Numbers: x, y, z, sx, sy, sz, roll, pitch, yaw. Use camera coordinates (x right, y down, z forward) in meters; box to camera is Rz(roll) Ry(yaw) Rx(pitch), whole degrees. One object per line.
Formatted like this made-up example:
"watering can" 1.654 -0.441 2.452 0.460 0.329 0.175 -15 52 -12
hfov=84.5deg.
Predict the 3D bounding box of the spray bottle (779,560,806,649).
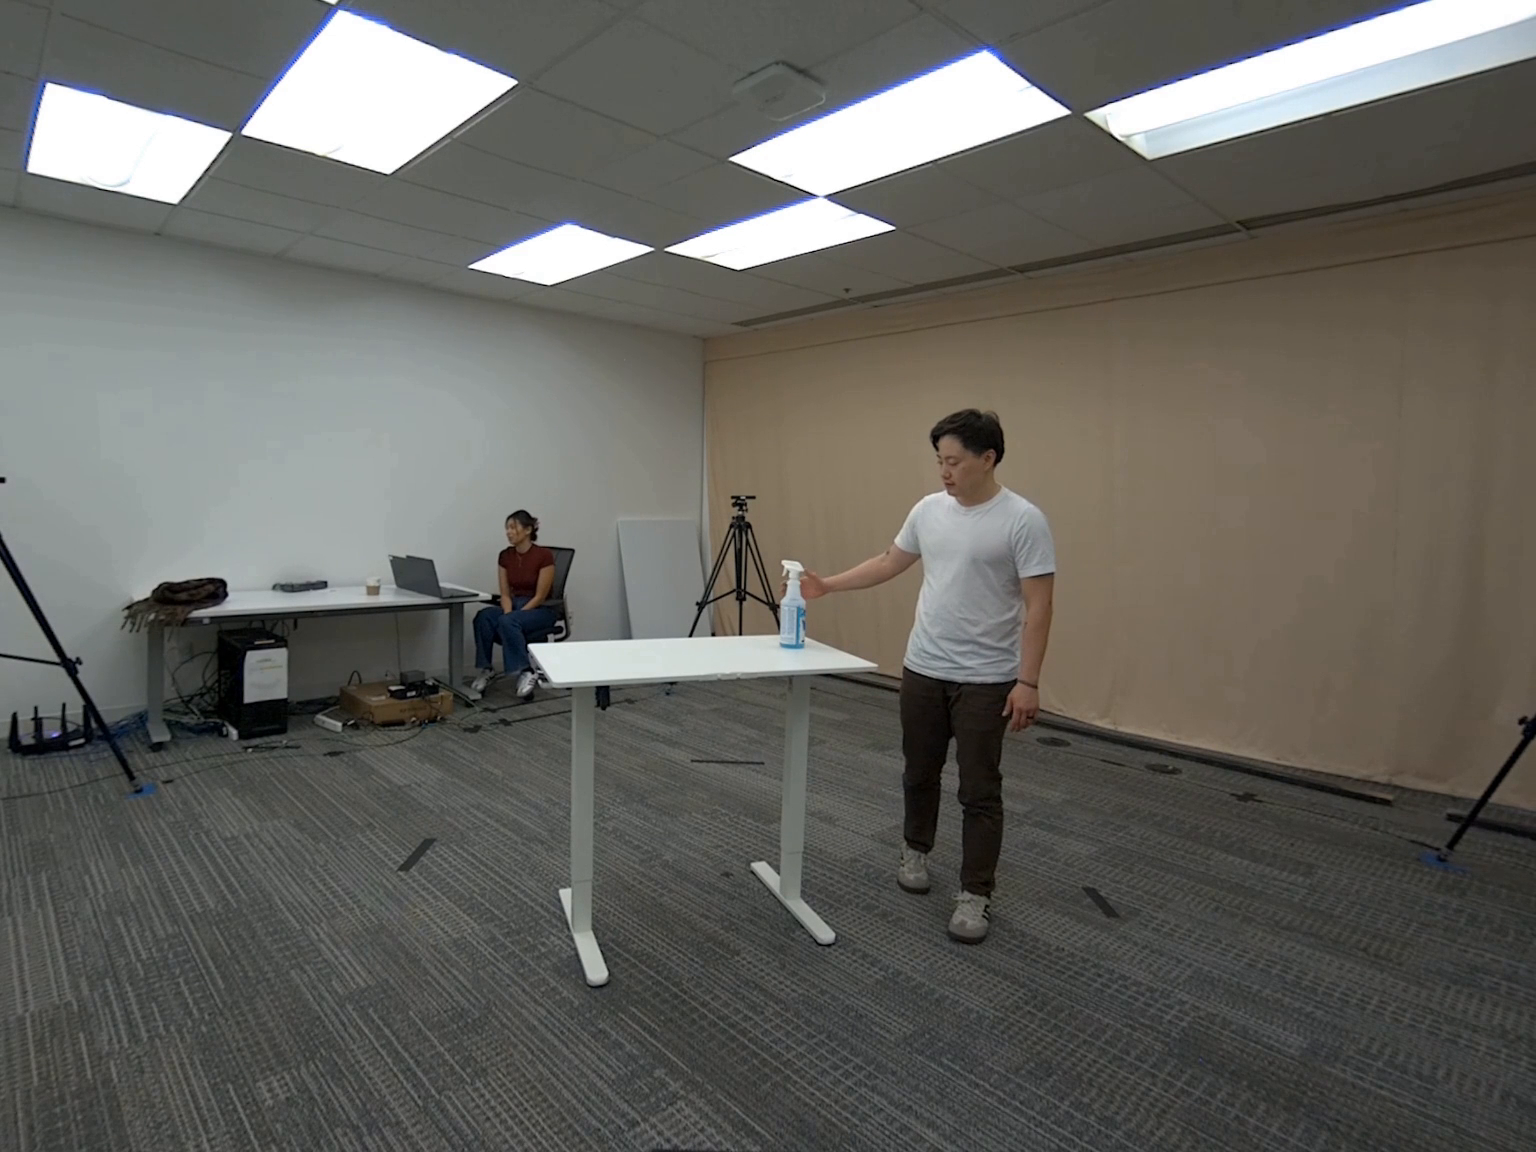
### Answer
"spray bottle" 0.083 0.098 2.909 0.086 0.296 0.092 -1 4 -21
